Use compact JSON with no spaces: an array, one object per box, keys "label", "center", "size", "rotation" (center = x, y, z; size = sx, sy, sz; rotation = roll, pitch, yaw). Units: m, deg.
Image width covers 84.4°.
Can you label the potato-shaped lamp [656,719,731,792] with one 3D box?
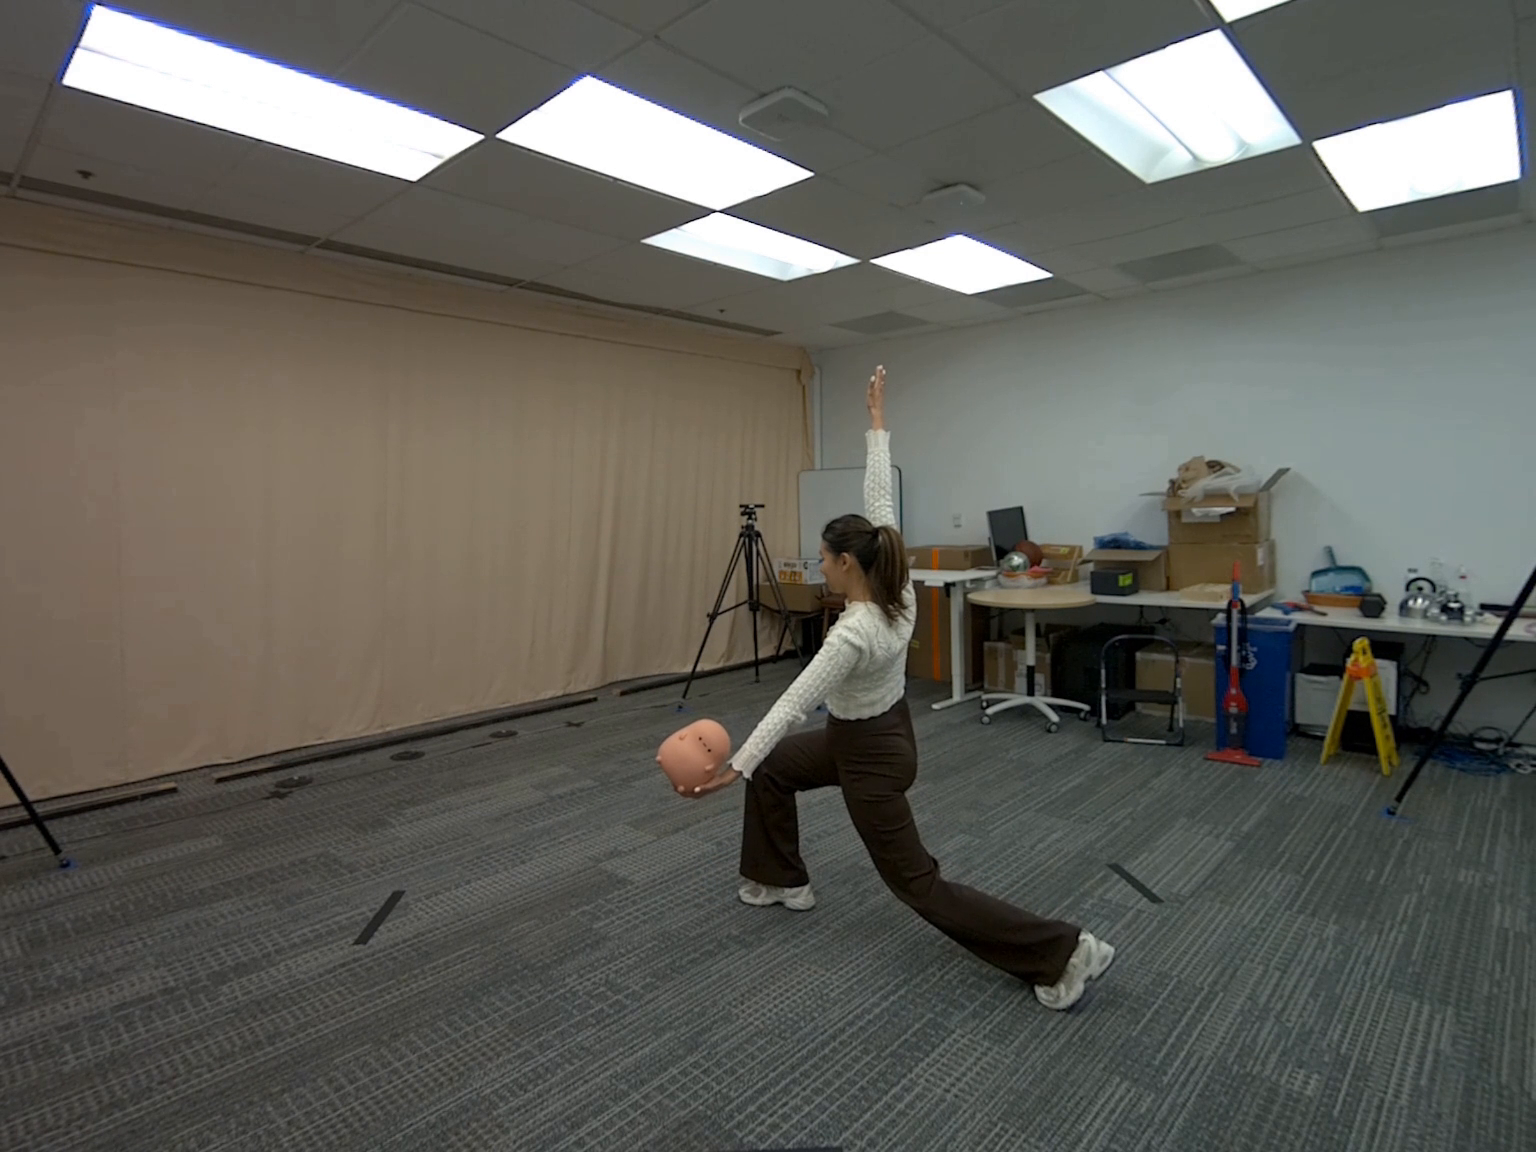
[{"label":"potato-shaped lamp","center":[-0.191,0.498,2.357],"size":[0.198,0.167,0.169],"rotation":[-39,-11,-1]}]
